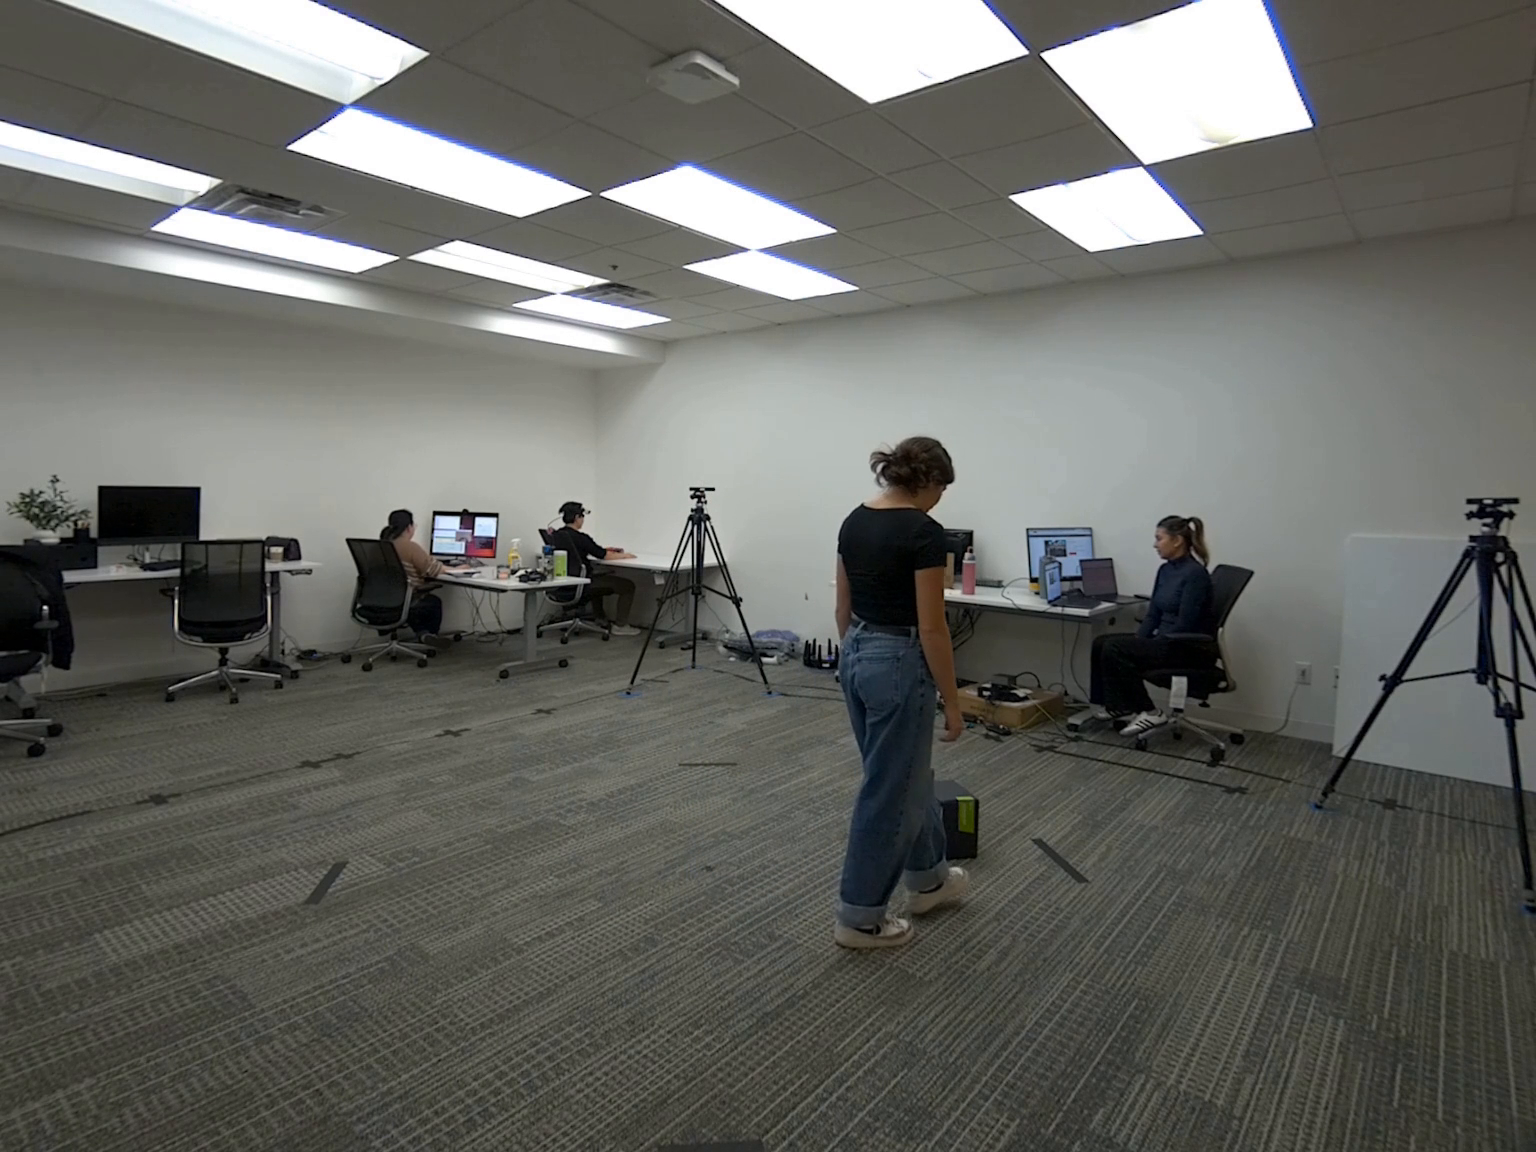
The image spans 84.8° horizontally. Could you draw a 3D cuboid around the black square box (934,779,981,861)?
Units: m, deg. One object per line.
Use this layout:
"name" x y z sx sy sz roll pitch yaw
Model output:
"black square box" 0.695 0.942 3.336 0.154 0.227 0.221 -1 5 -13
